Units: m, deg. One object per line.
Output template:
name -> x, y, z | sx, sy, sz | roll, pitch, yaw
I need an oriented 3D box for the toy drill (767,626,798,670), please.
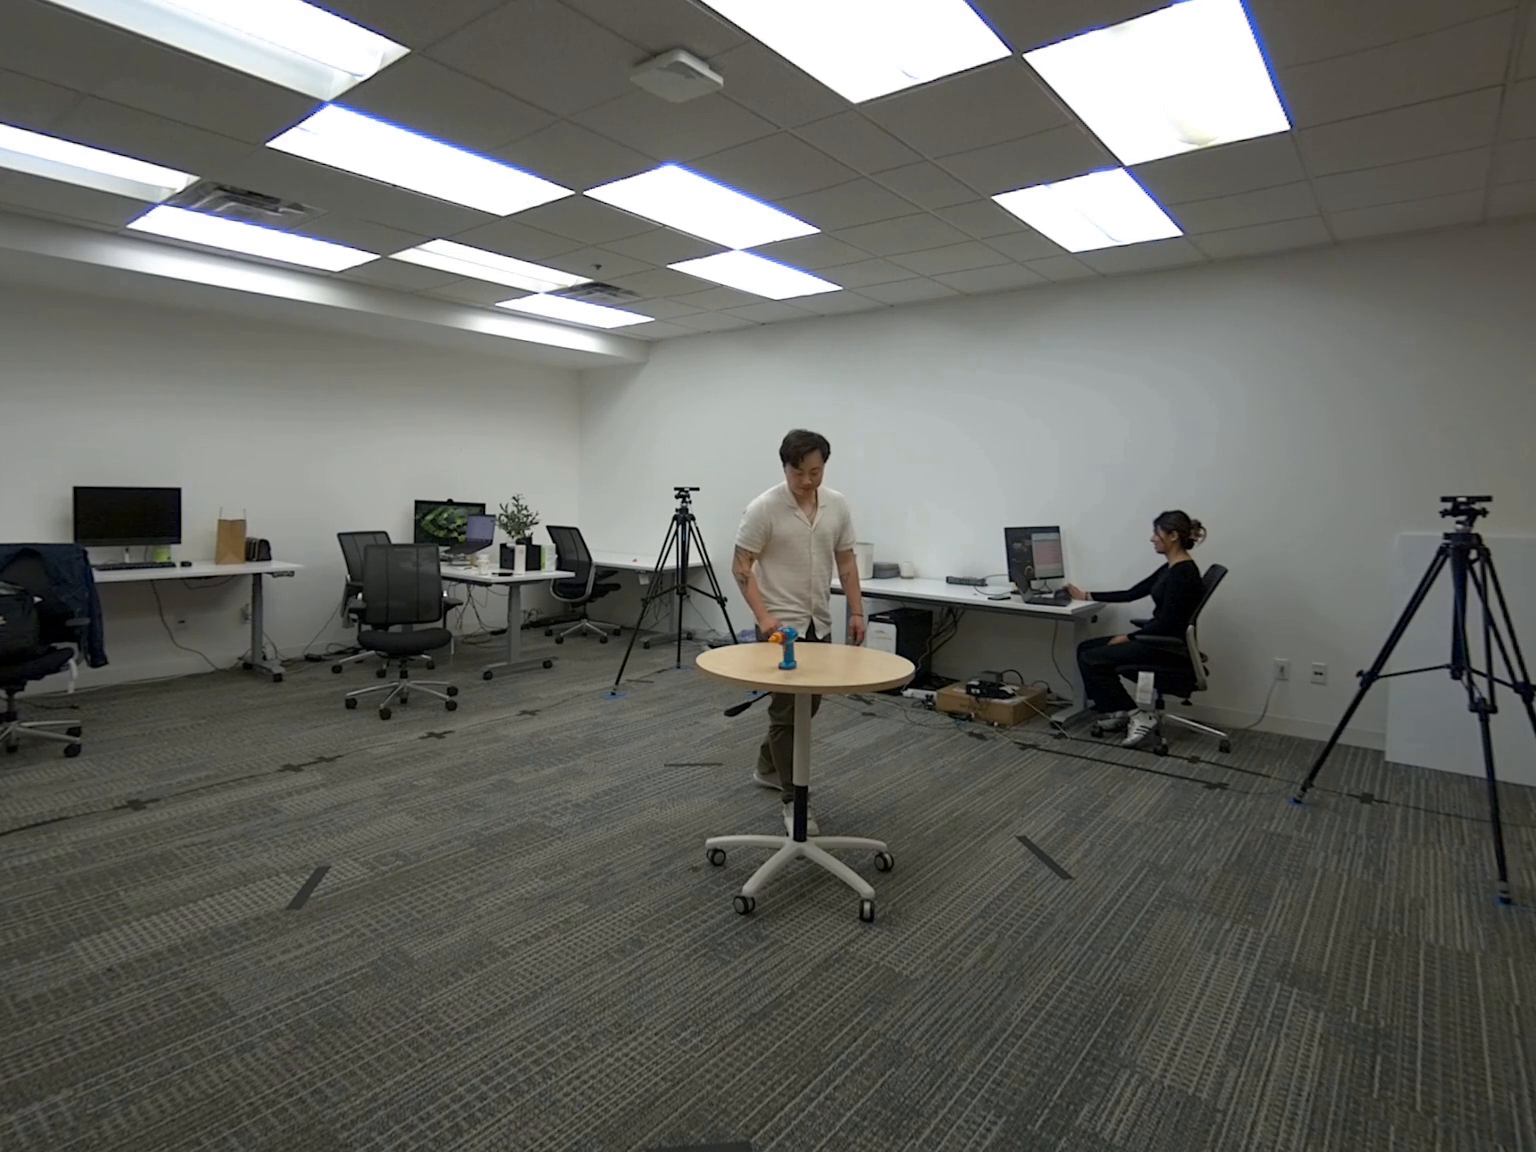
toy drill -> 0.038, 0.241, 2.856 | 0.063, 0.145, 0.165 | 0, 4, 30
